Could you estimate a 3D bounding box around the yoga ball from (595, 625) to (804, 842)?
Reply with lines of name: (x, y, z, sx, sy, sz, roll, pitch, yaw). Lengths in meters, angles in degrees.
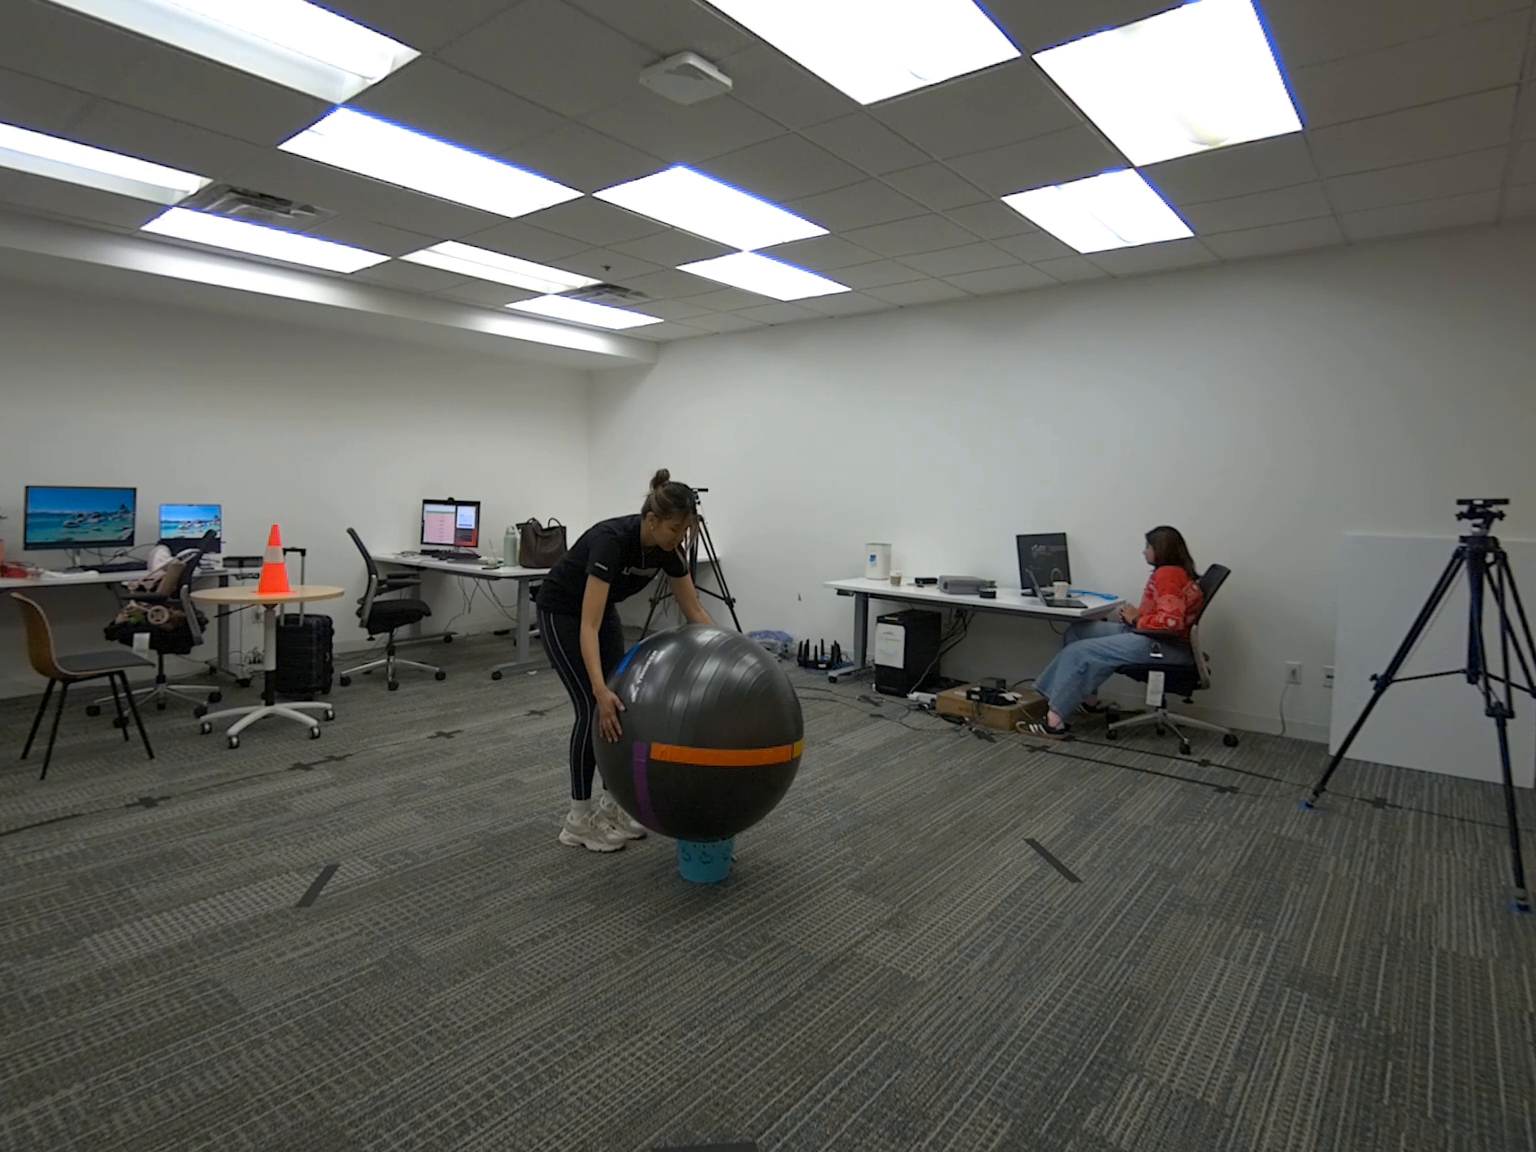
yoga ball: (-0.257, 0.548, 3.056, 0.757, 0.755, 0.762, 1, 4, -2)
